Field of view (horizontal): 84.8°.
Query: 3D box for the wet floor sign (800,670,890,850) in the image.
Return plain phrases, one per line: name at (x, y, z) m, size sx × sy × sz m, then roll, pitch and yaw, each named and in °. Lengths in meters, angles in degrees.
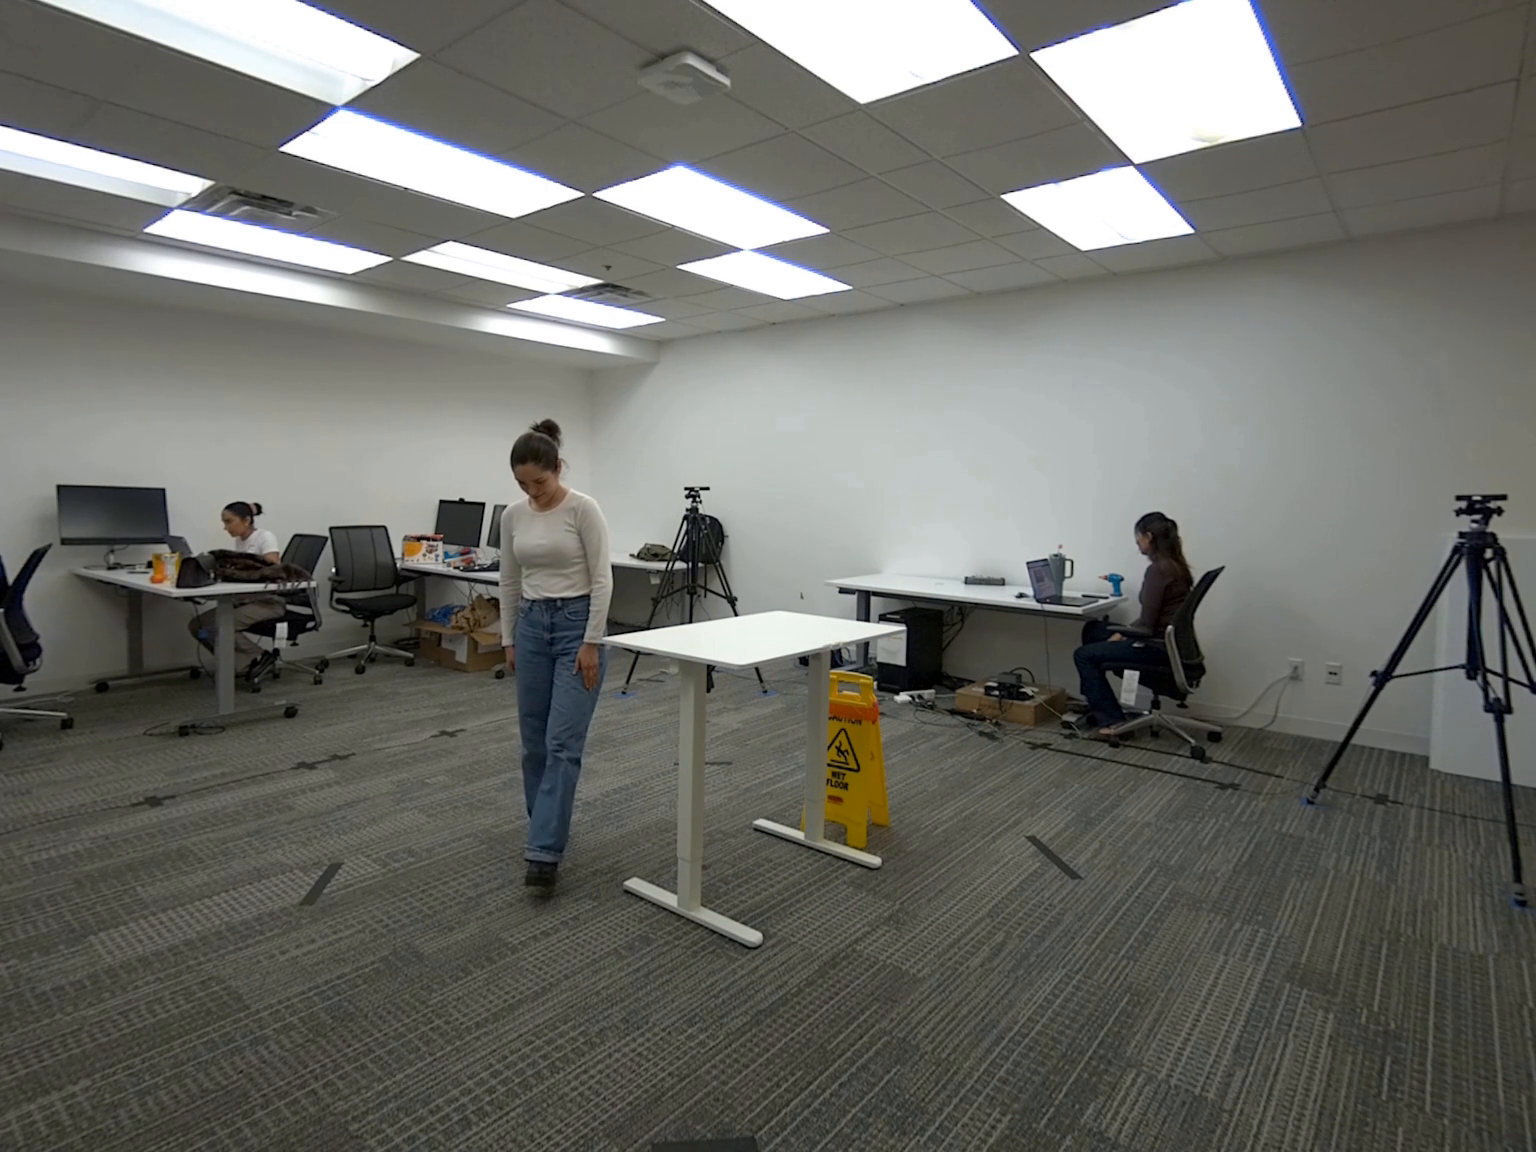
wet floor sign at (0.322, 0.719, 3.473) m, size 0.291 × 0.644 × 0.282 m, roll 4°, pitch 3°, yaw 30°
